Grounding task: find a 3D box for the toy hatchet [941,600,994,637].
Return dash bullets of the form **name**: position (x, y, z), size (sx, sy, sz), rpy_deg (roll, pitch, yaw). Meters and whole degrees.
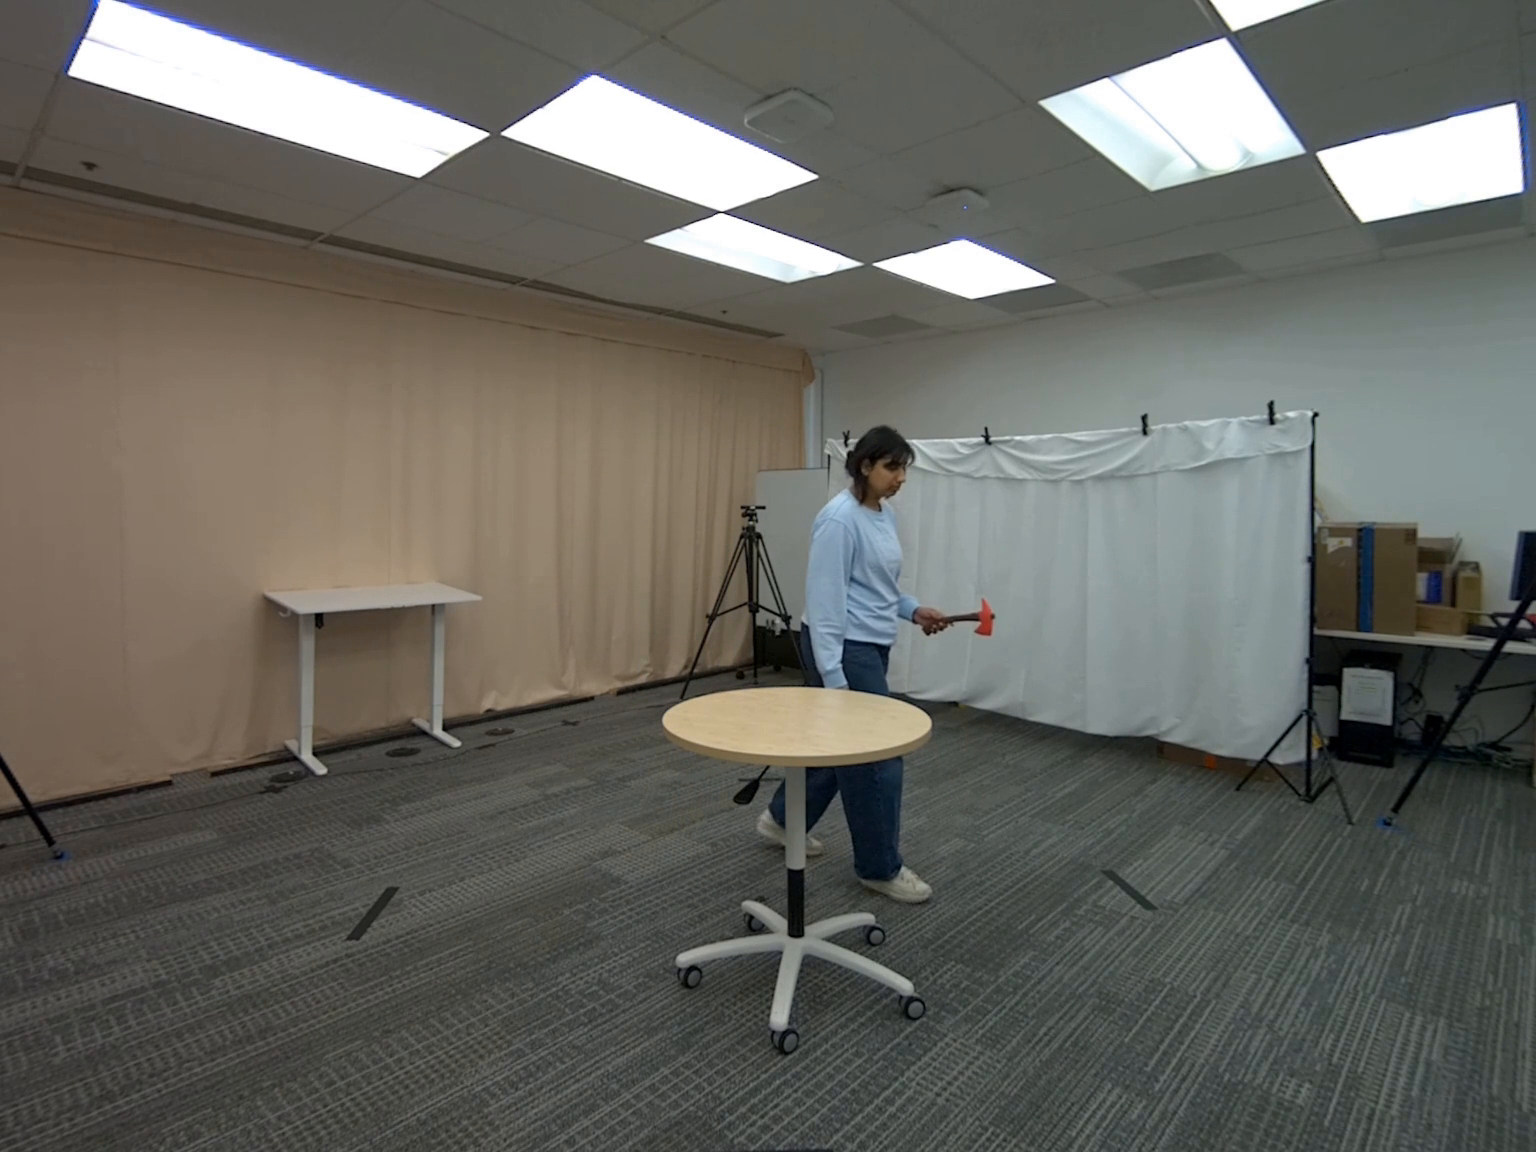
- **toy hatchet**: position (0.696, 0.192, 3.039), size (0.274, 0.131, 0.029), rpy_deg (-29, -3, 31)
